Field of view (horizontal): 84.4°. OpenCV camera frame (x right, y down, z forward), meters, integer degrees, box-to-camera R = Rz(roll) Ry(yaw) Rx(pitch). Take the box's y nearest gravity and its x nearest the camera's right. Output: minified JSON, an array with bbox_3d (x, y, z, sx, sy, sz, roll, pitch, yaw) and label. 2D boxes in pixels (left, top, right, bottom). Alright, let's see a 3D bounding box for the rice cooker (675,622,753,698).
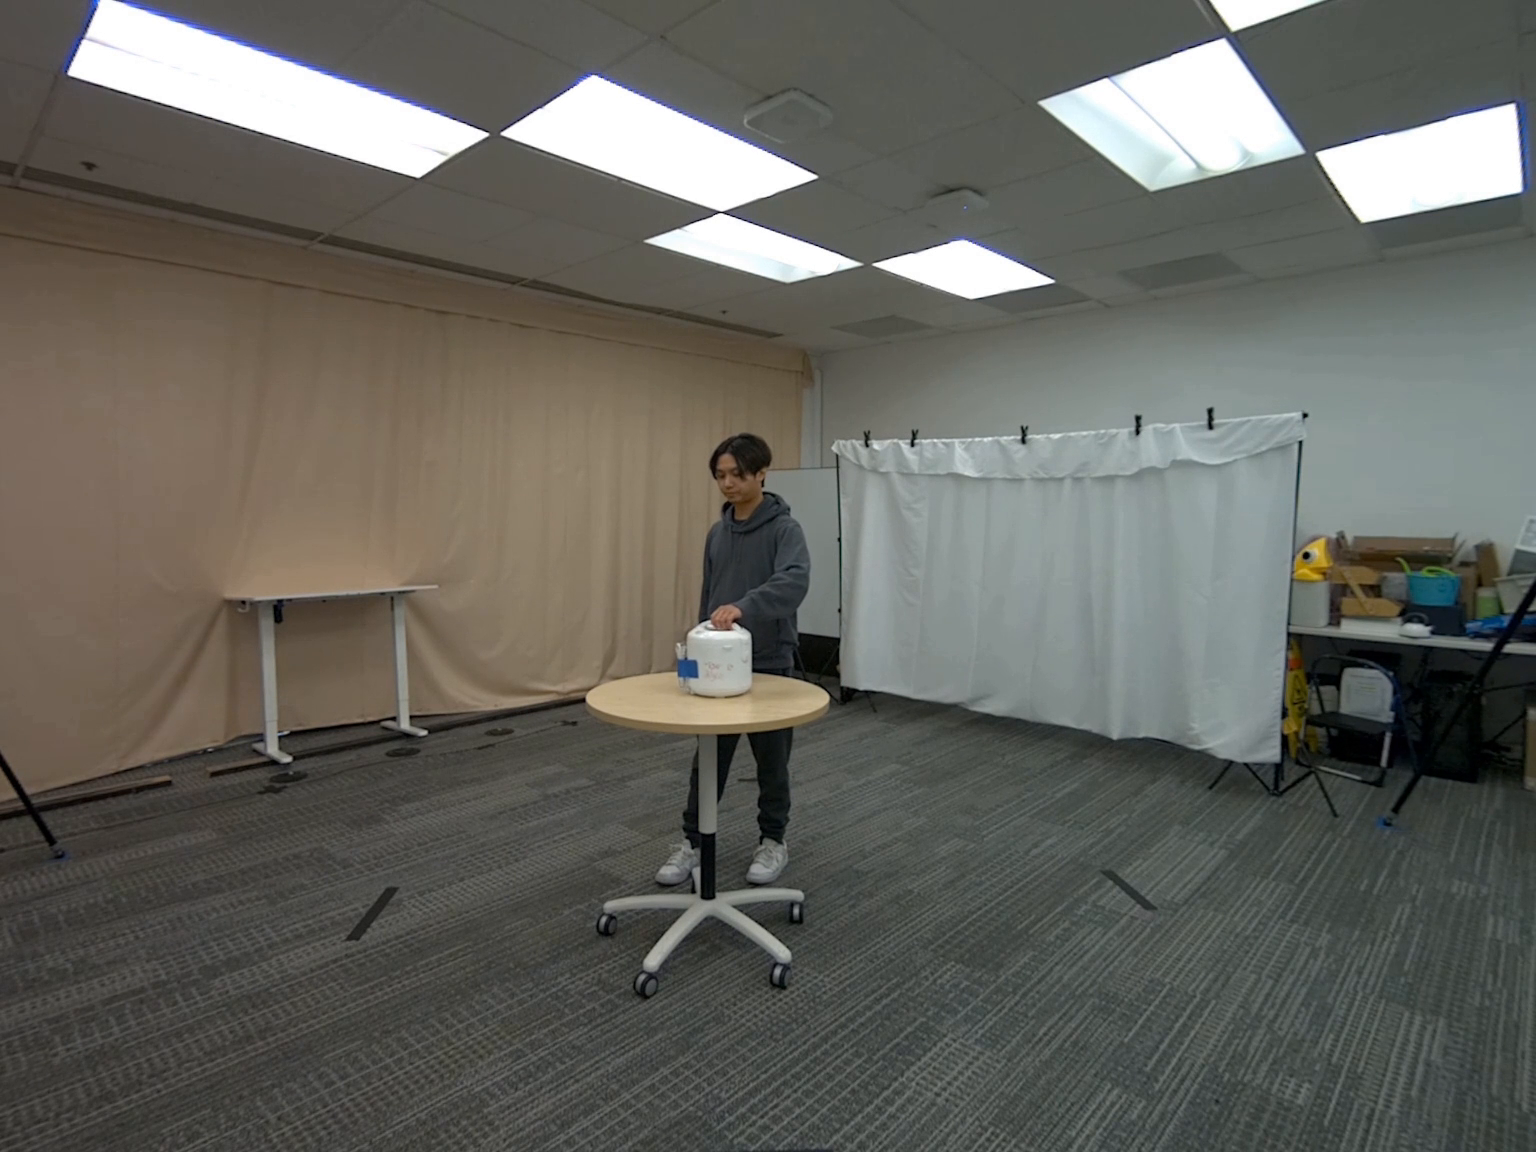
[{"bbox_3d":[-0.157,0.256,2.695,0.227,0.232,0.211,3,5,35],"label":"rice cooker"}]
